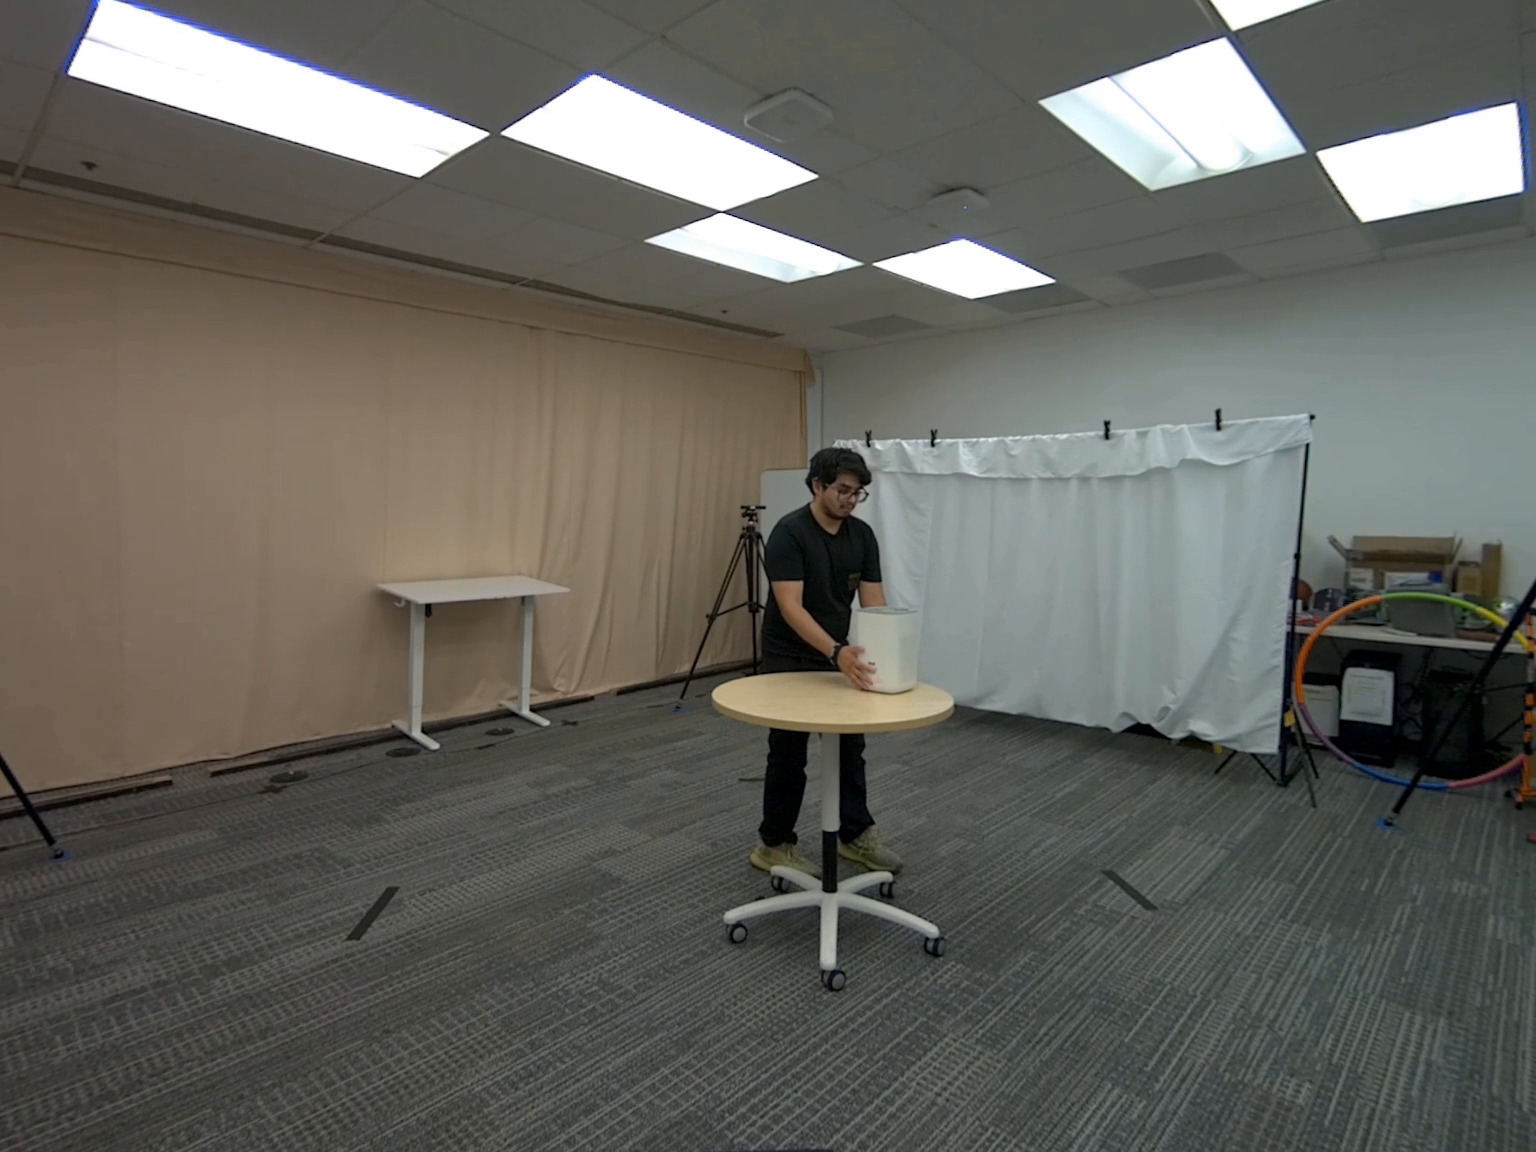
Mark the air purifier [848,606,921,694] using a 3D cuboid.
[{"bbox_3d":[0.403,0.241,2.783,0.177,0.265,0.166,6,6,44],"label":"air purifier"}]
